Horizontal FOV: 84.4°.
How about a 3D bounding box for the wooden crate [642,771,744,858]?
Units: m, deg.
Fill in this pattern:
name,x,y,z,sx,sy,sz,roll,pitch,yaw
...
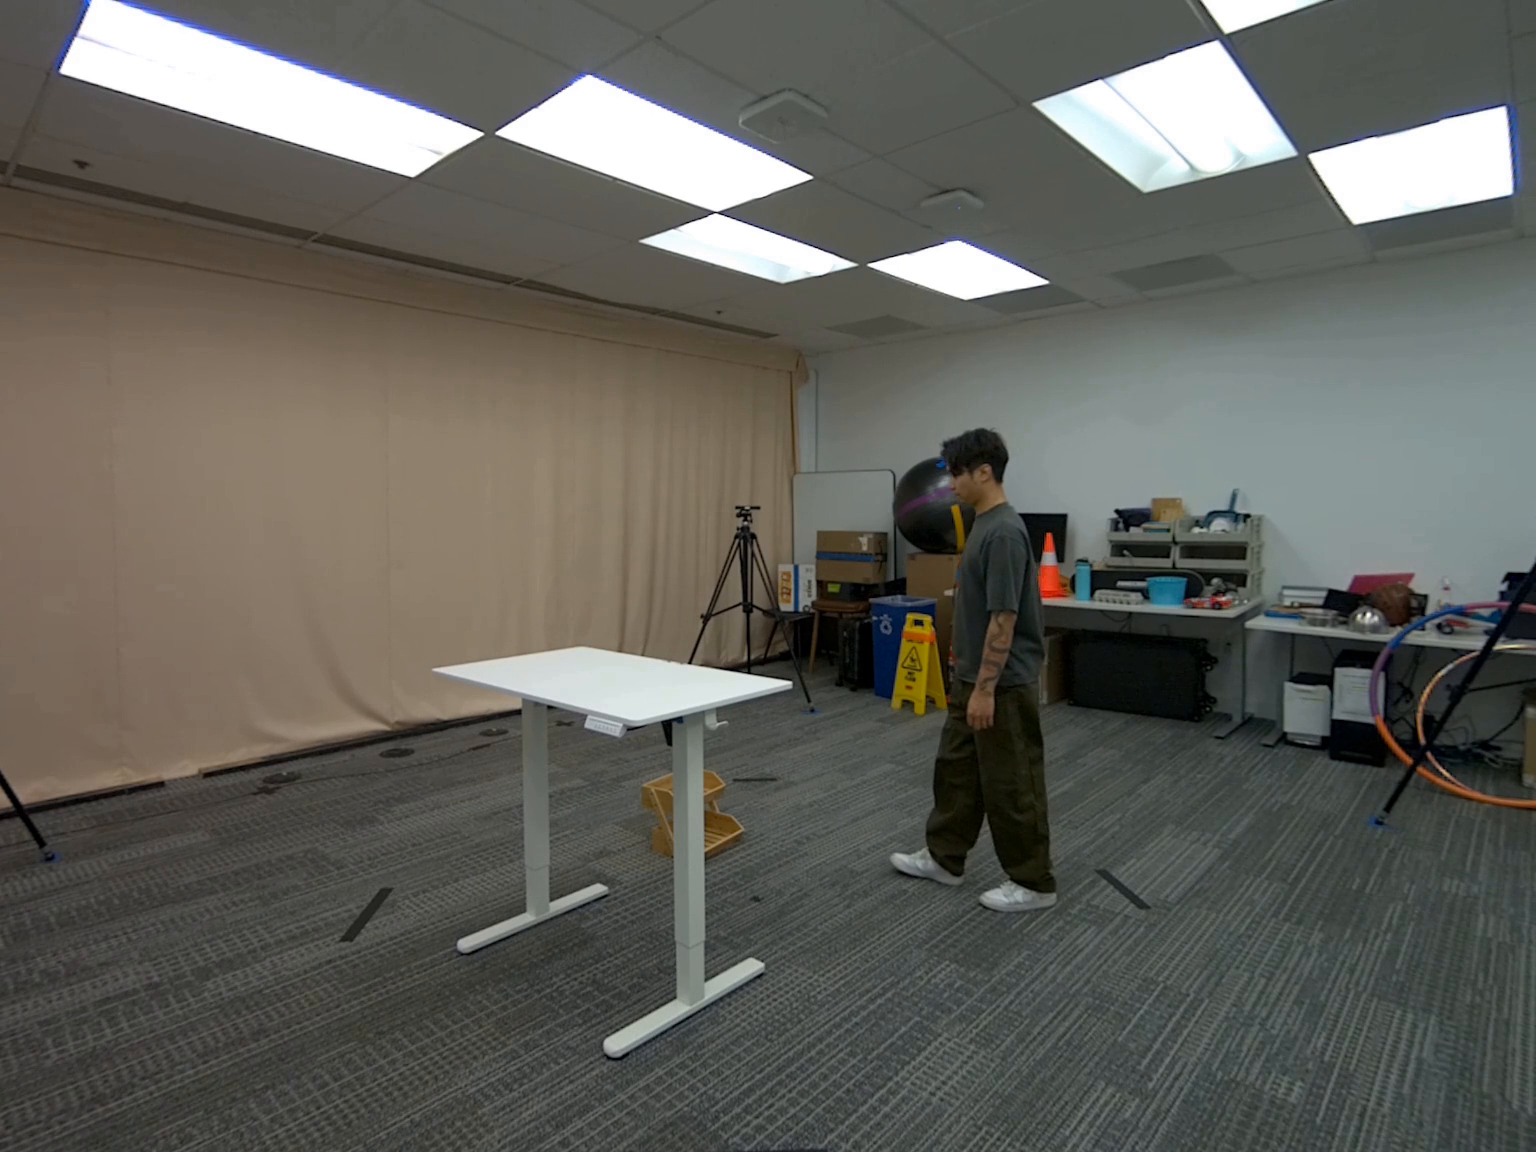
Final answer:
name,x,y,z,sx,sy,sz,roll,pitch,yaw
wooden crate,-0.302,0.970,3.462,0.311,0.273,0.315,1,4,35
